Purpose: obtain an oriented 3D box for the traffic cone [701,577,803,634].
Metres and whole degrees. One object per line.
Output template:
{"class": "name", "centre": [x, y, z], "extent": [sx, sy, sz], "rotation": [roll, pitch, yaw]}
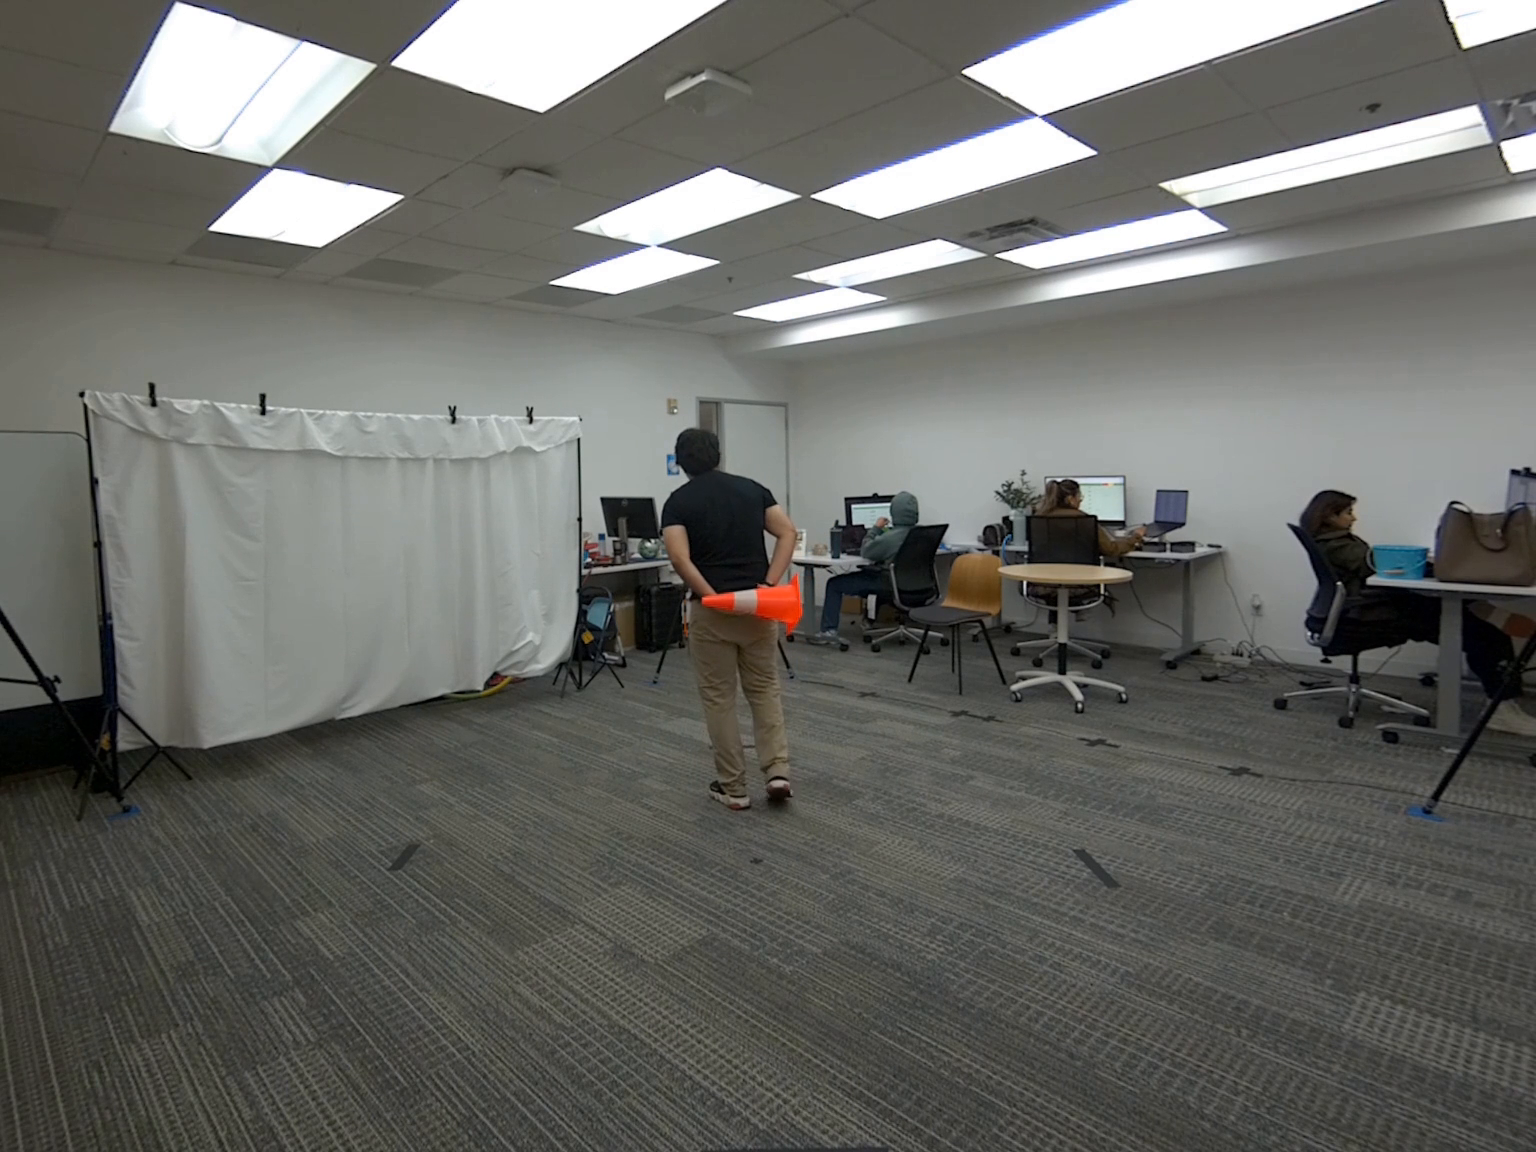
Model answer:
{"class": "traffic cone", "centre": [-0.085, 0.109, 3.463], "extent": [0.379, 0.210, 0.200], "rotation": [1, -32, -12]}
